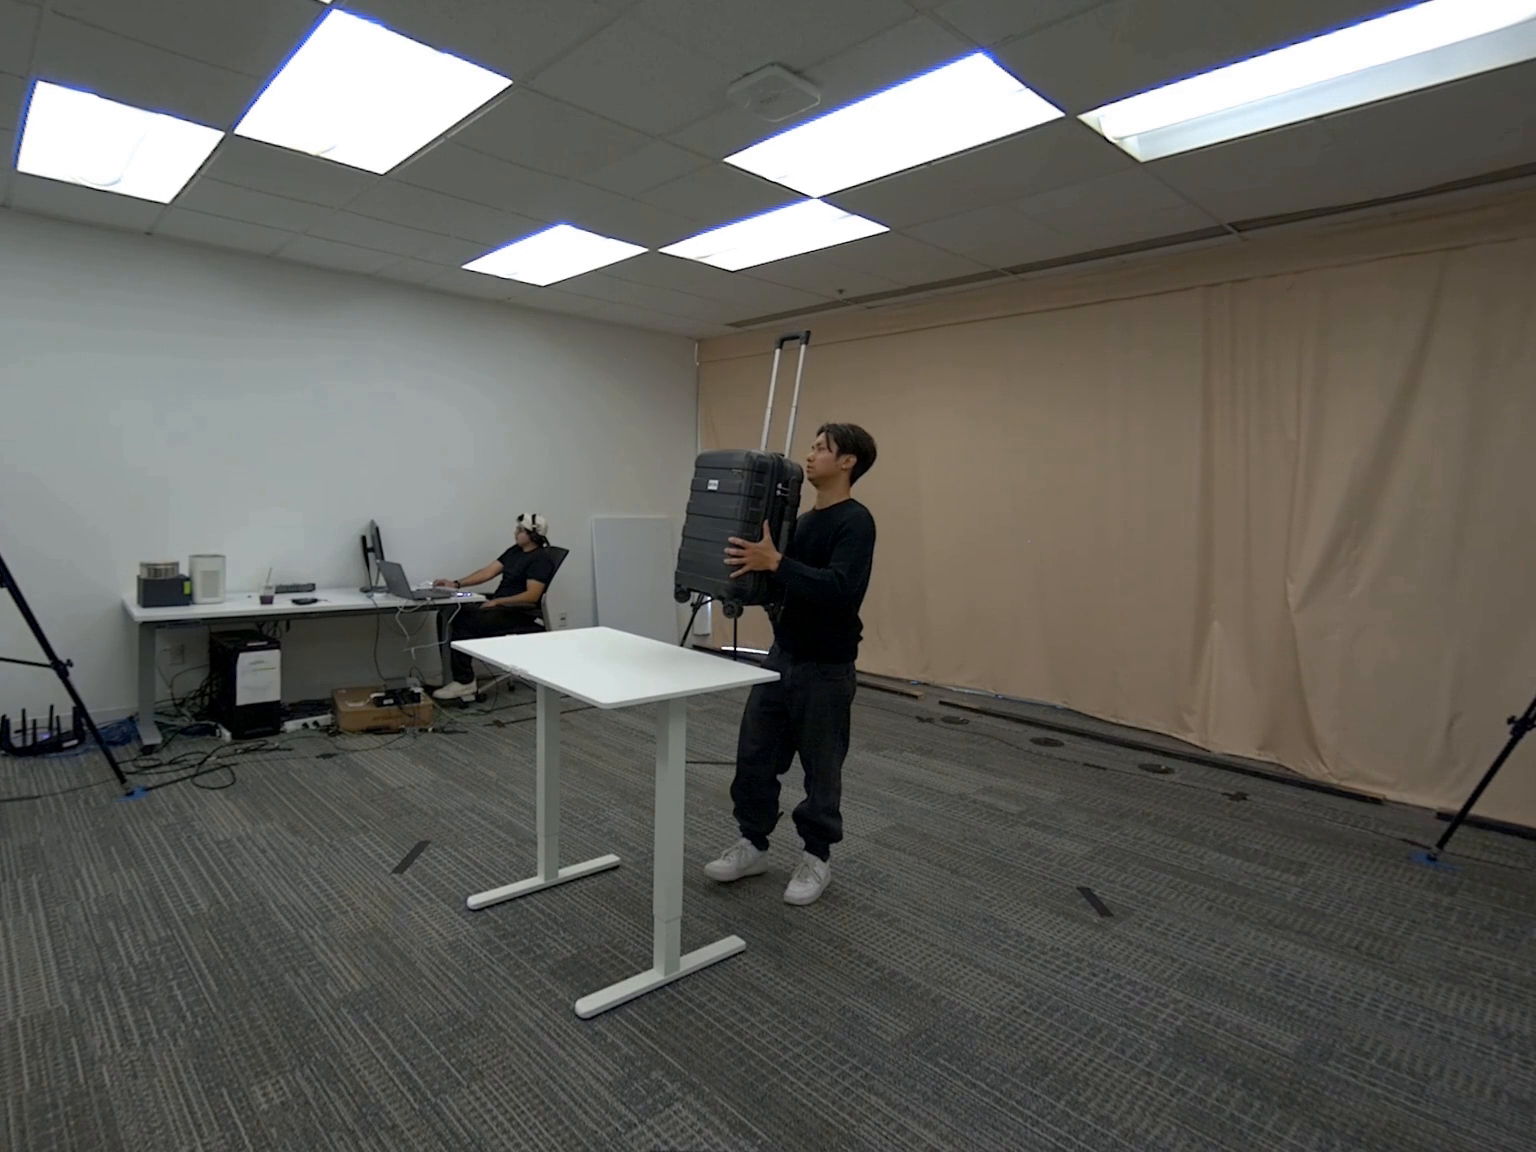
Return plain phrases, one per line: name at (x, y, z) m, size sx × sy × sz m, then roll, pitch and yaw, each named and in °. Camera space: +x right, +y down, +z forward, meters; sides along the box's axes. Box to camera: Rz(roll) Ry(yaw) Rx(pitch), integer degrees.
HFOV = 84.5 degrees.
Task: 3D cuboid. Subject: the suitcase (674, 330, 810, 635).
suitcase at (-0.075, -0.354, 2.815) m, size 0.250 × 0.978 × 0.394 m, roll 8°, pitch 0°, yaw -38°
